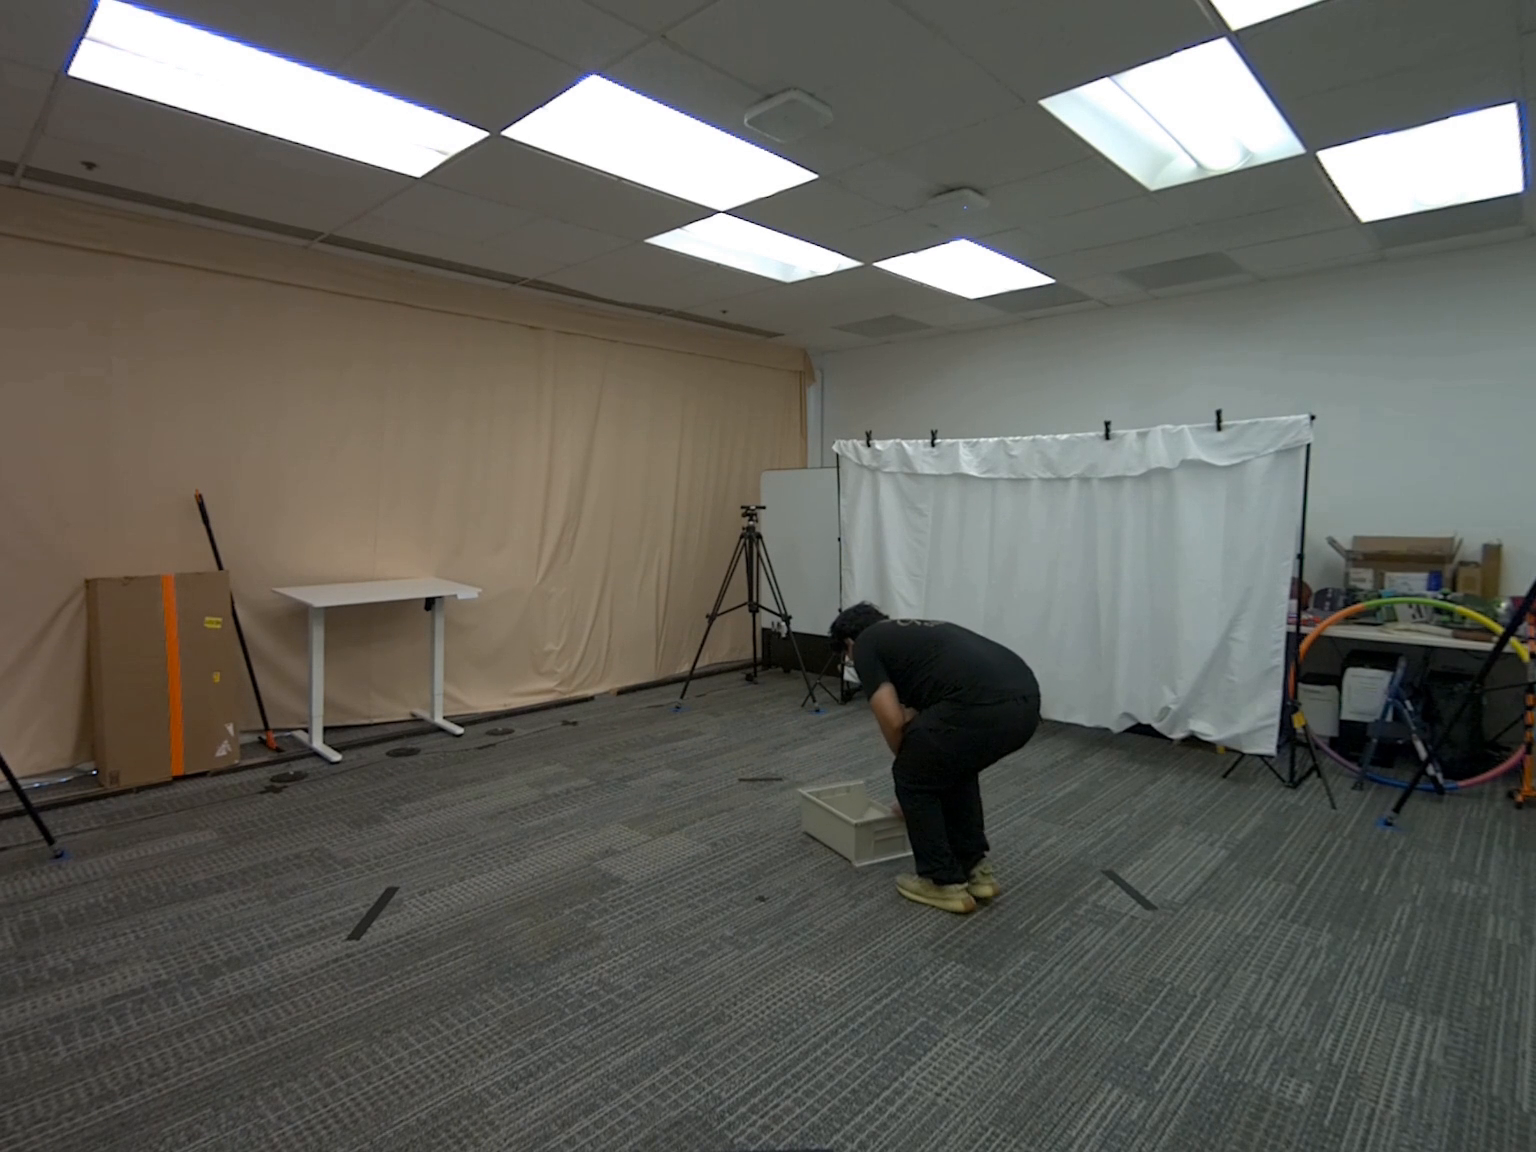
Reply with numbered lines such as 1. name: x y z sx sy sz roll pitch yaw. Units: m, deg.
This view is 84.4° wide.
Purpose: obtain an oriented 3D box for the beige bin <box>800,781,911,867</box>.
1. beige bin: 0.395 1.009 3.495 0.368 0.188 0.434 -4 6 -29
